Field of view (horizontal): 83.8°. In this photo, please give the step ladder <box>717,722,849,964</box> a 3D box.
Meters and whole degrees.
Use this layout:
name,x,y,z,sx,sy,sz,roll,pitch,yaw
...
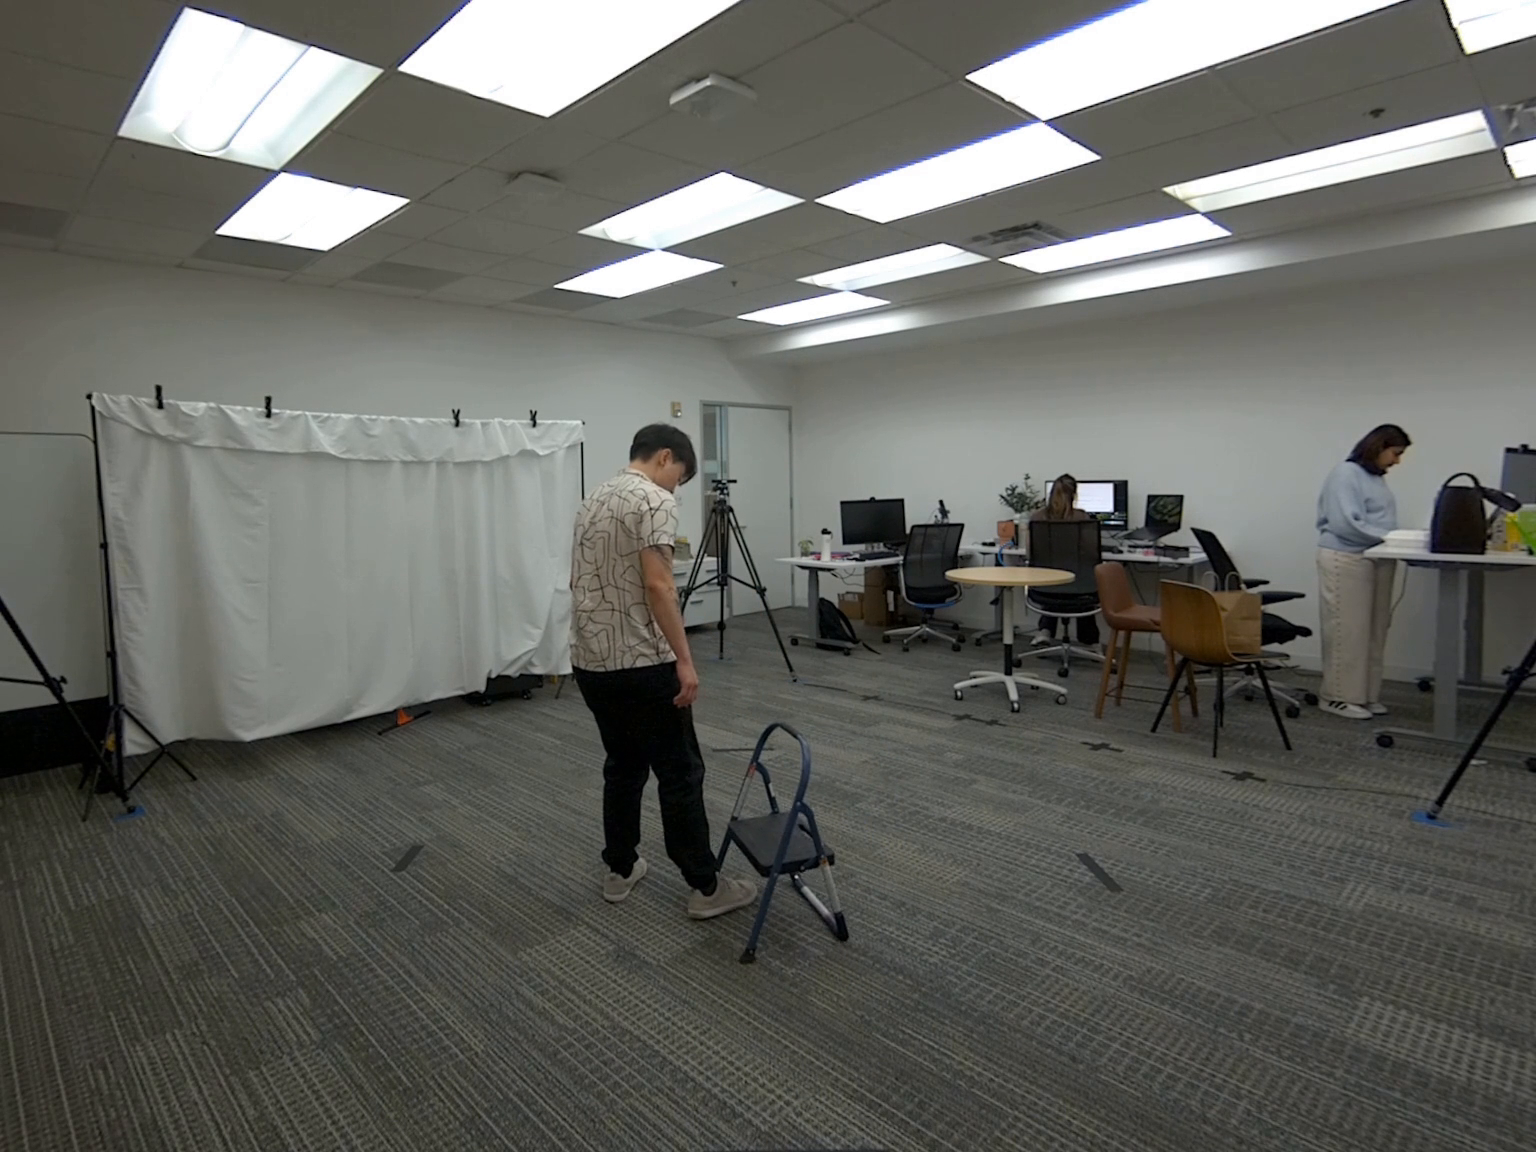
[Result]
name,x,y,z,sx,sy,sz,roll,pitch,yaw
step ladder,0.025,0.787,2.691,0.343,0.603,0.440,-3,6,-21
